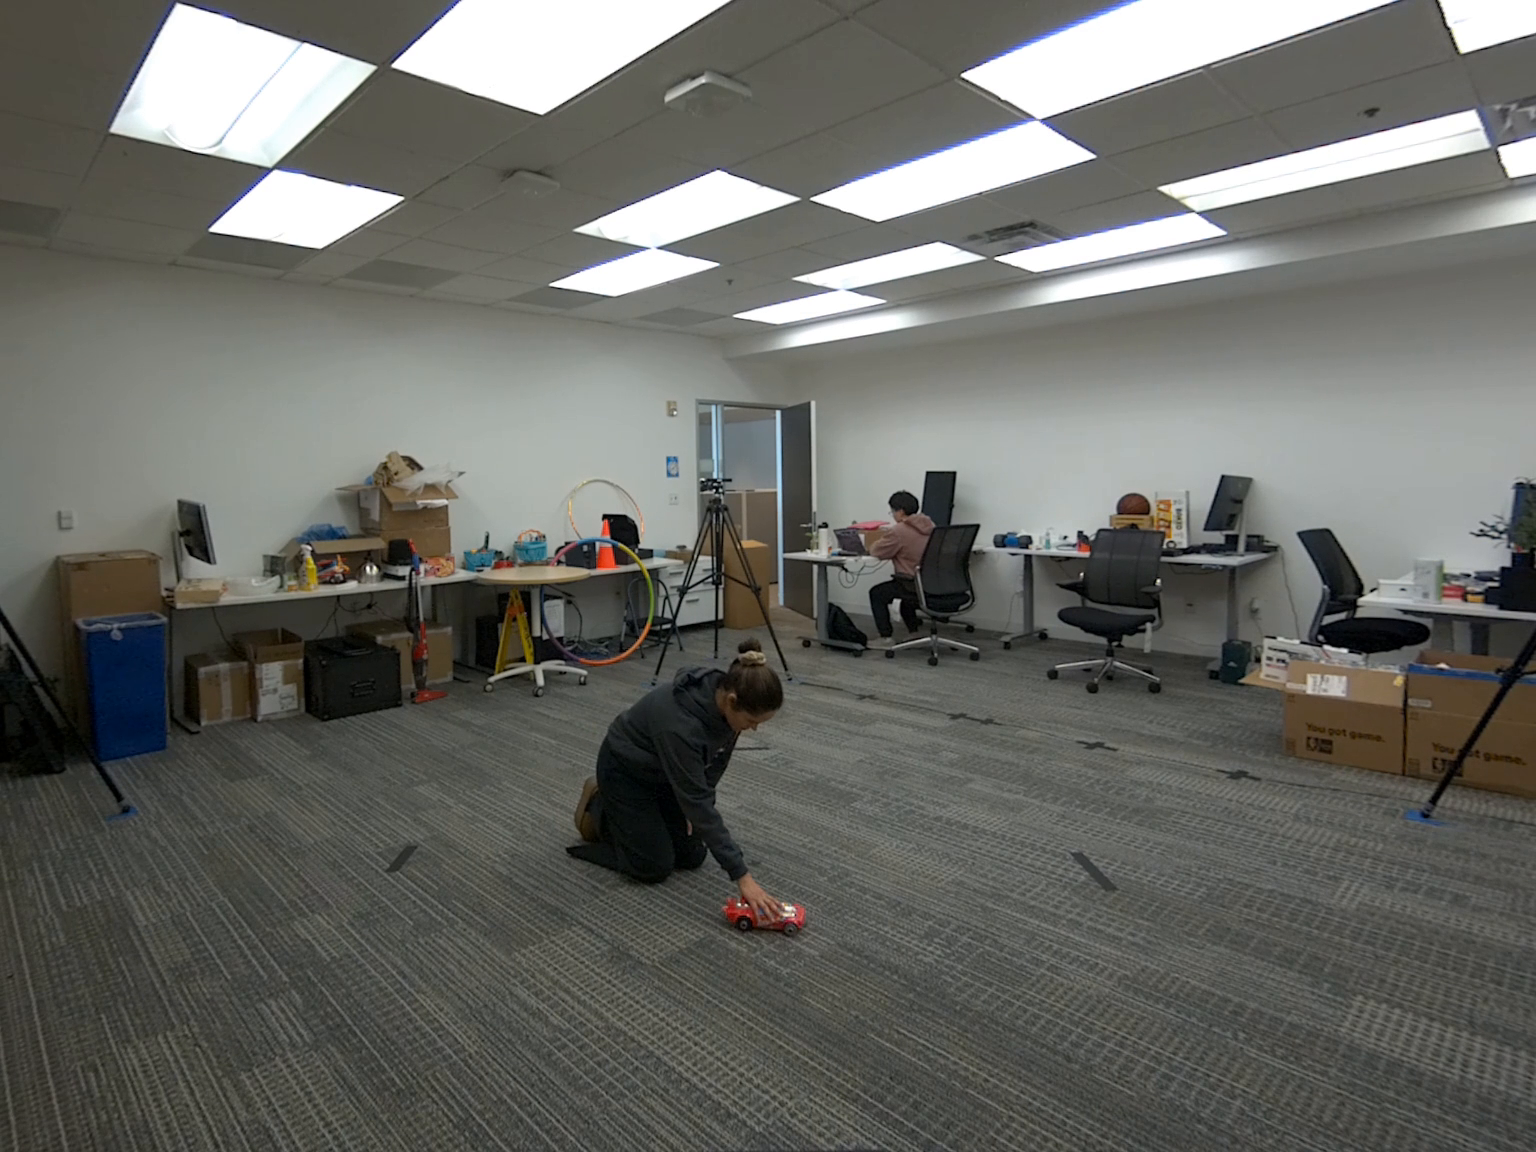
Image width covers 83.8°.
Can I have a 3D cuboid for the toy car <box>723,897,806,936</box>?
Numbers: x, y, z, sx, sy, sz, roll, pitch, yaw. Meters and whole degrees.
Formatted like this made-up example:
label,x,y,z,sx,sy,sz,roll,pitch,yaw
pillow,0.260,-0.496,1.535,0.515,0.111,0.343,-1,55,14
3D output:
label,x,y,z,sx,sy,sz,roll,pitch,yaw
toy car,-0.019,1.061,2.673,0.258,0.083,0.129,11,8,11
